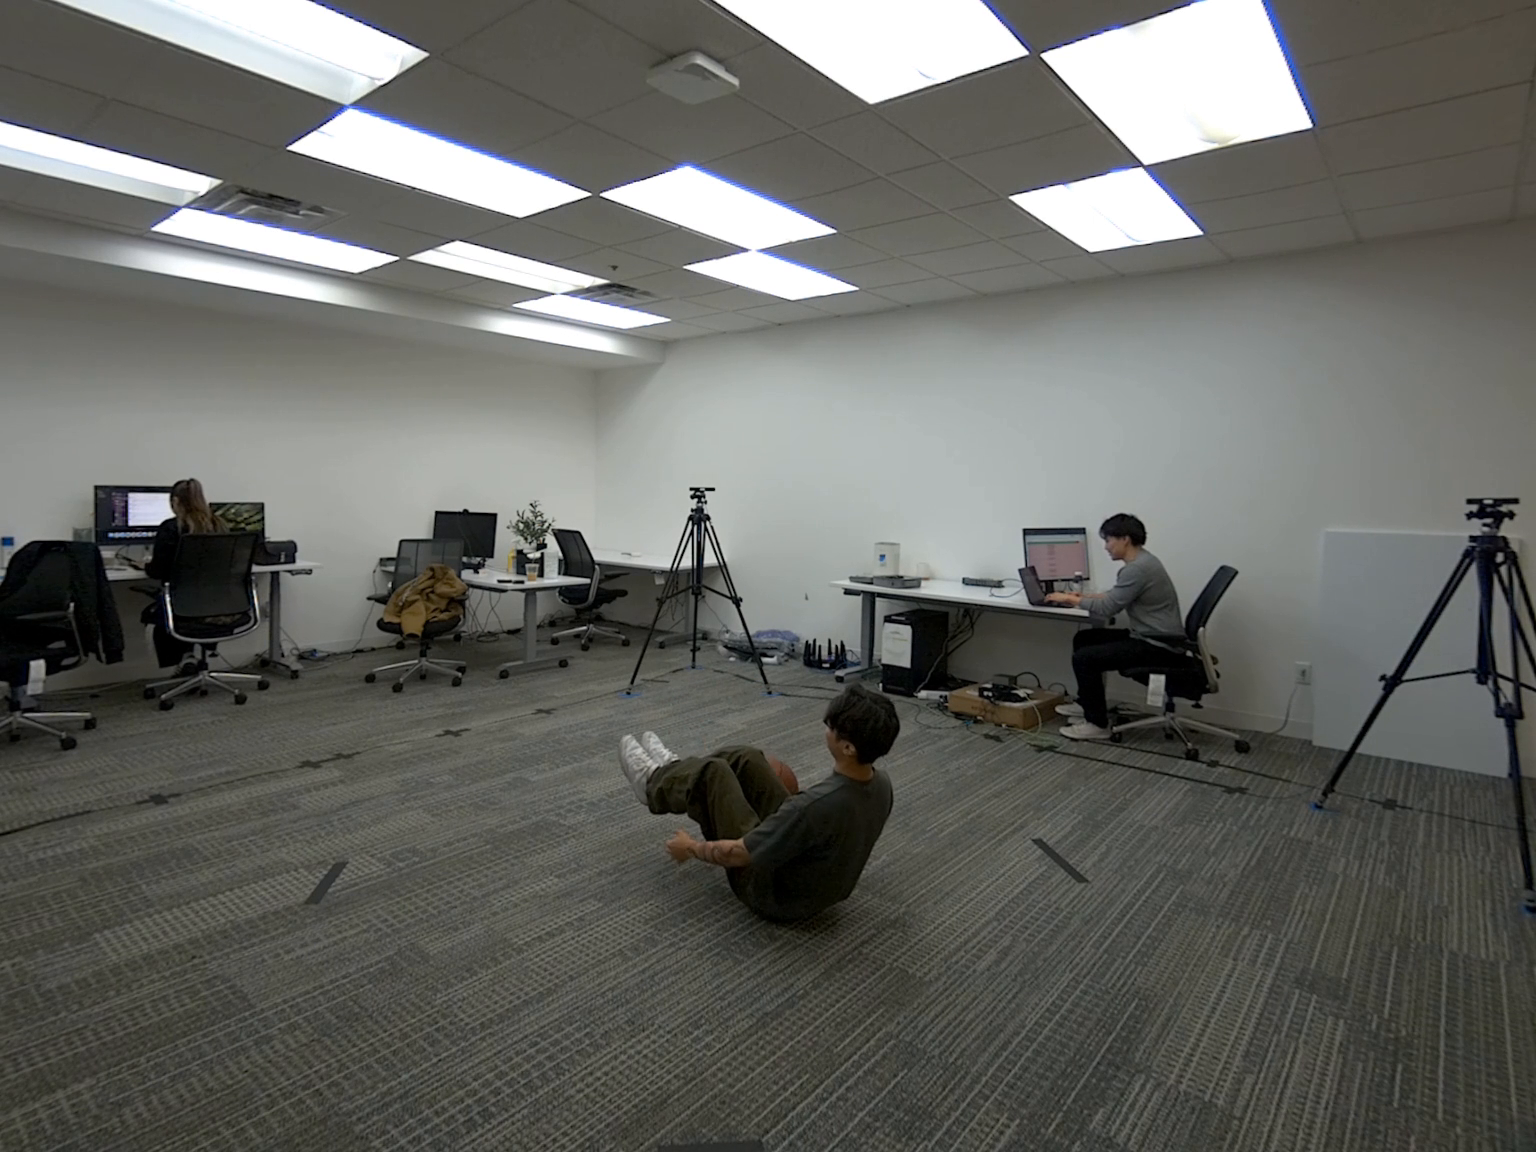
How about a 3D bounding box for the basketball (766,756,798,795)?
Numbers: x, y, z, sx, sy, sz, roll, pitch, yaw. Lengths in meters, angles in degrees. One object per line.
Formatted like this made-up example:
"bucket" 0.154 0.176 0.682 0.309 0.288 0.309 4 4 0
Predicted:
"basketball" -0.022 0.797 3.236 0.235 0.235 0.237 1 4 -2
